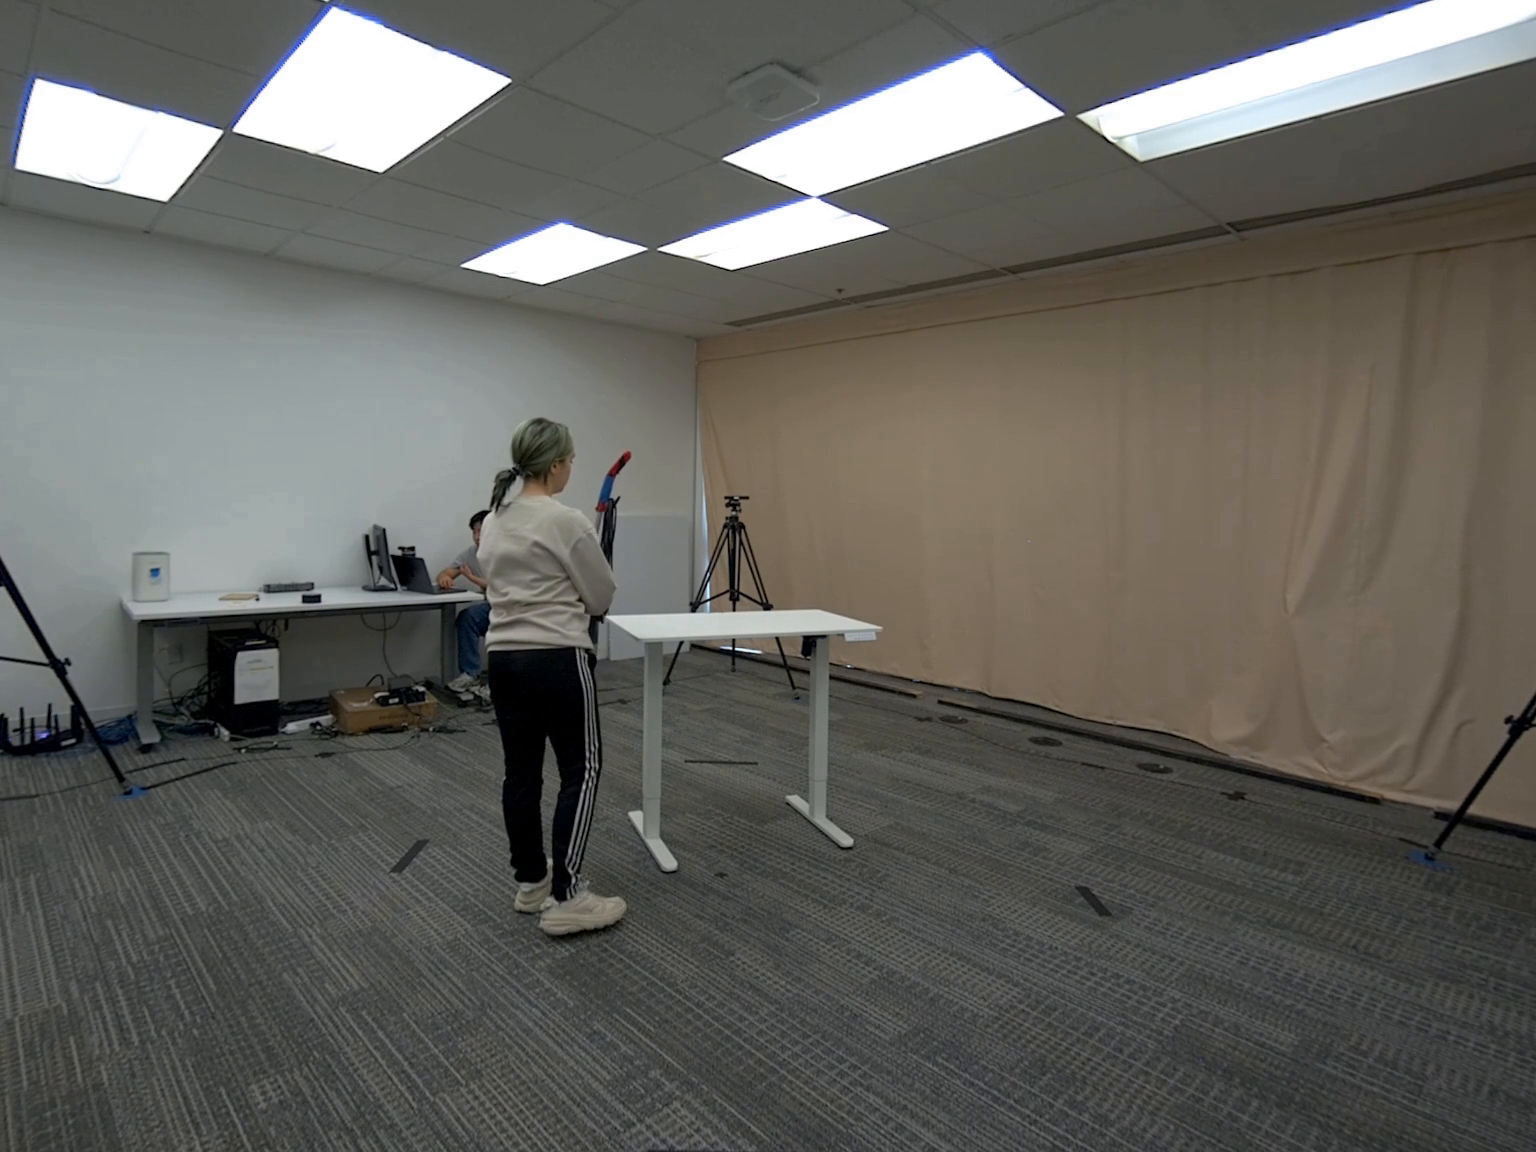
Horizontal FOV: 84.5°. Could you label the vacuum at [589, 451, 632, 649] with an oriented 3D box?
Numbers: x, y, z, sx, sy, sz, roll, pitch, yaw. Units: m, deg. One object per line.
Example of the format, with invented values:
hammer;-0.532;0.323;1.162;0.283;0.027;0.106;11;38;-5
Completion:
vacuum;-0.634;0.069;3.025;0.145;1.045;0.251;16;7;8
